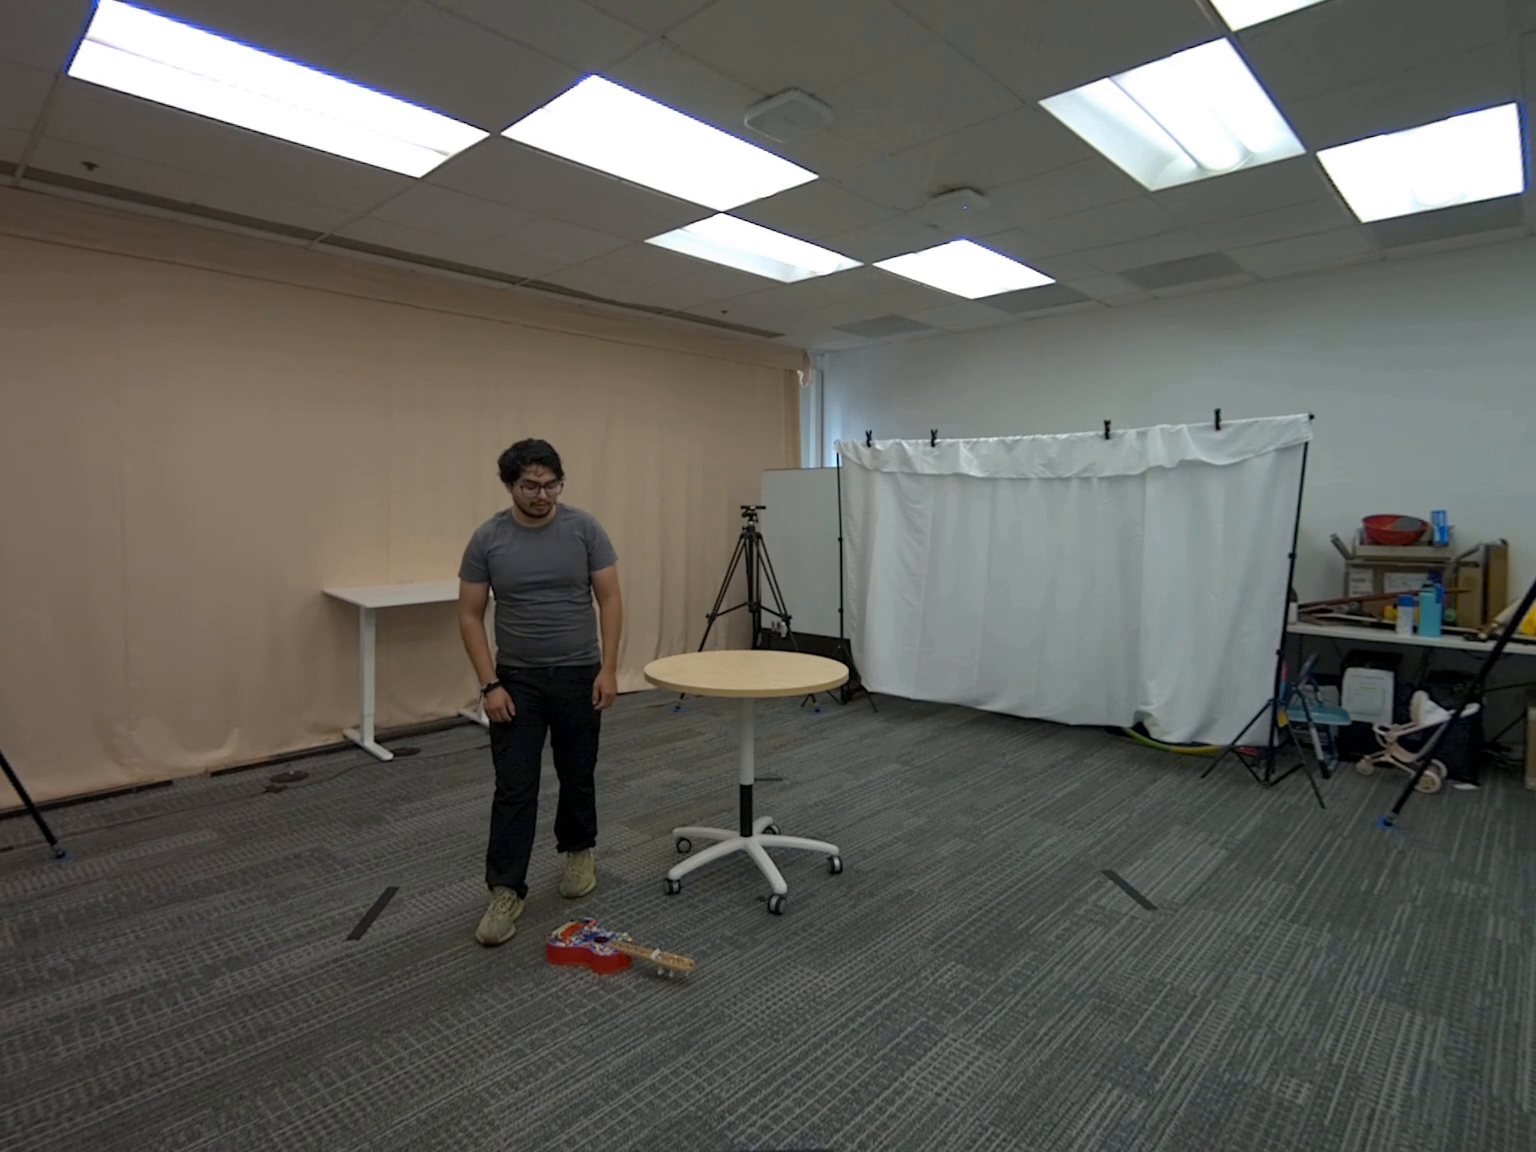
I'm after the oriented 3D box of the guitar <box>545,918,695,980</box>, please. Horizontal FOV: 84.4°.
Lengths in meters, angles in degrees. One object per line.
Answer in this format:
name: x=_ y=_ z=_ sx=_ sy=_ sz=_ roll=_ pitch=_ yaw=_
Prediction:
guitar: x=-0.458 y=1.151 z=2.530 sx=0.513 sy=0.070 sz=0.187 roll=2 pitch=5 yaw=36
